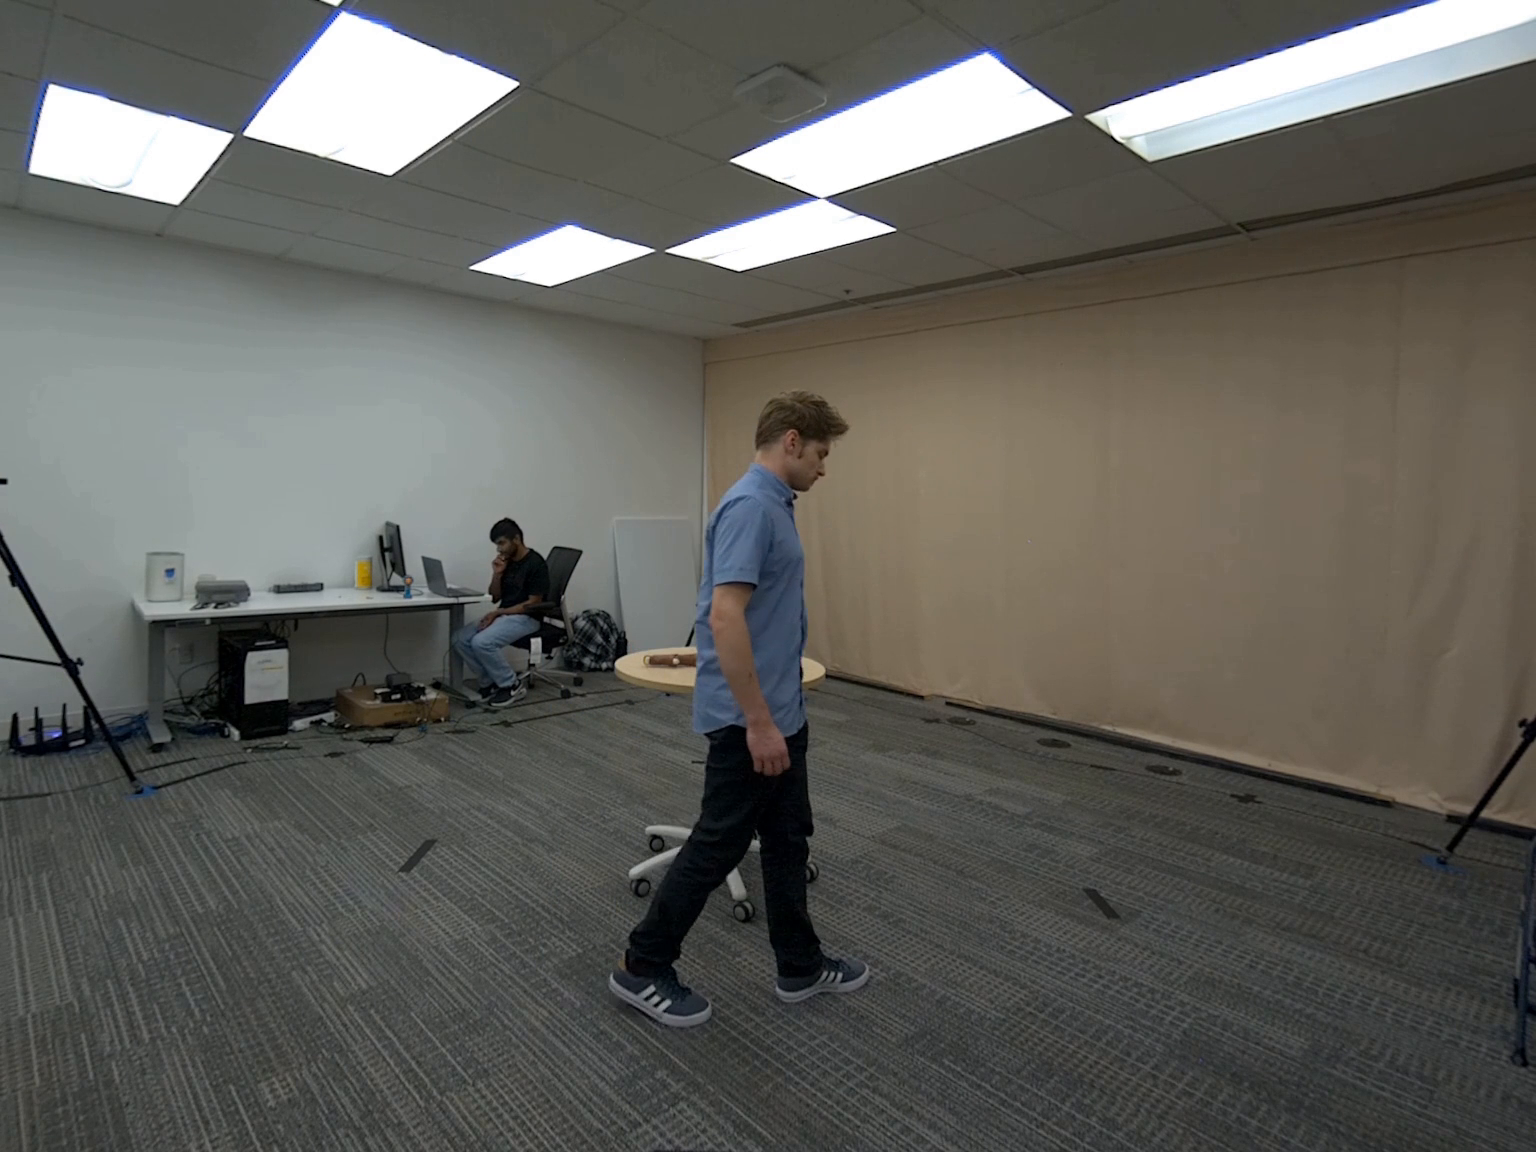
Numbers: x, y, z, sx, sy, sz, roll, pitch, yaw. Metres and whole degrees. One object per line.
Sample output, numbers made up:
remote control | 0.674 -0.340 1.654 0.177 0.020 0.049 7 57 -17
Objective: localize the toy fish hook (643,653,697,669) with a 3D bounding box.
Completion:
toy fish hook | -0.204 0.311 3.081 0.504 0.048 0.225 1 -1 -7
